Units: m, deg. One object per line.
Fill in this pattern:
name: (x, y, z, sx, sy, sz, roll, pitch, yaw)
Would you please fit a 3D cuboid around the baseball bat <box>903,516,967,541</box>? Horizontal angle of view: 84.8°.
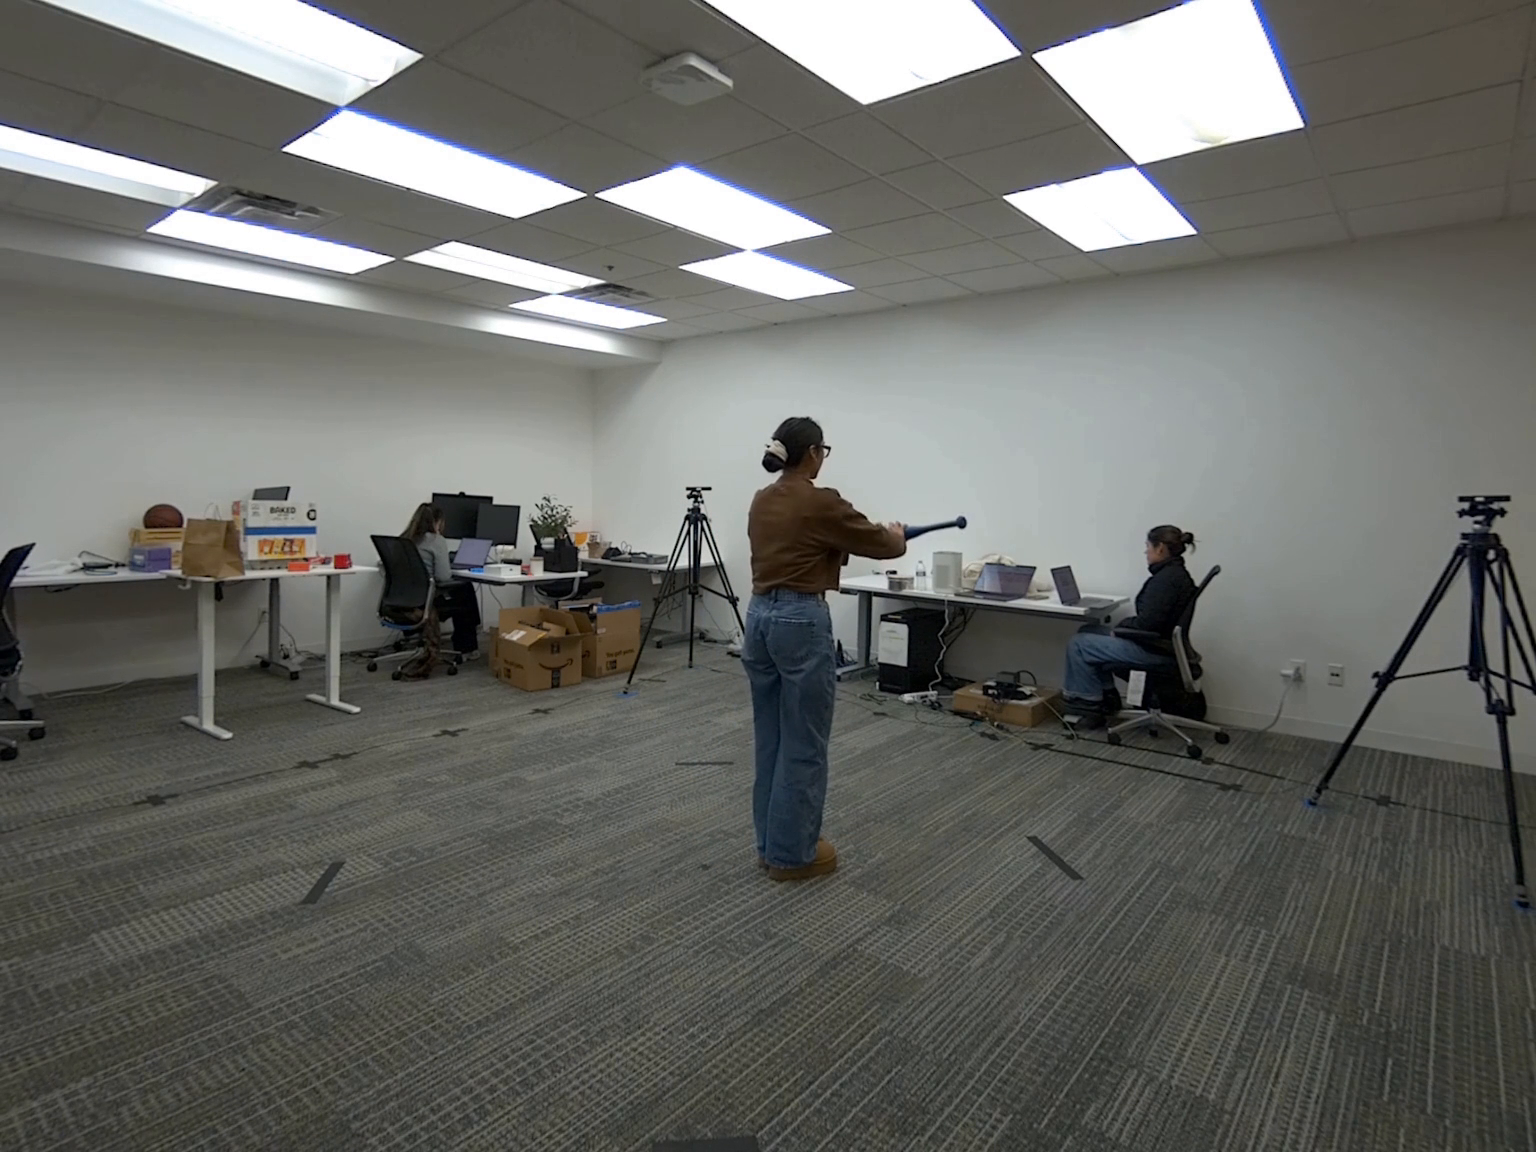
baseball bat: (0.539, -0.173, 3.382, 0.086, 0.089, 0.556, -3, -5, -43)
